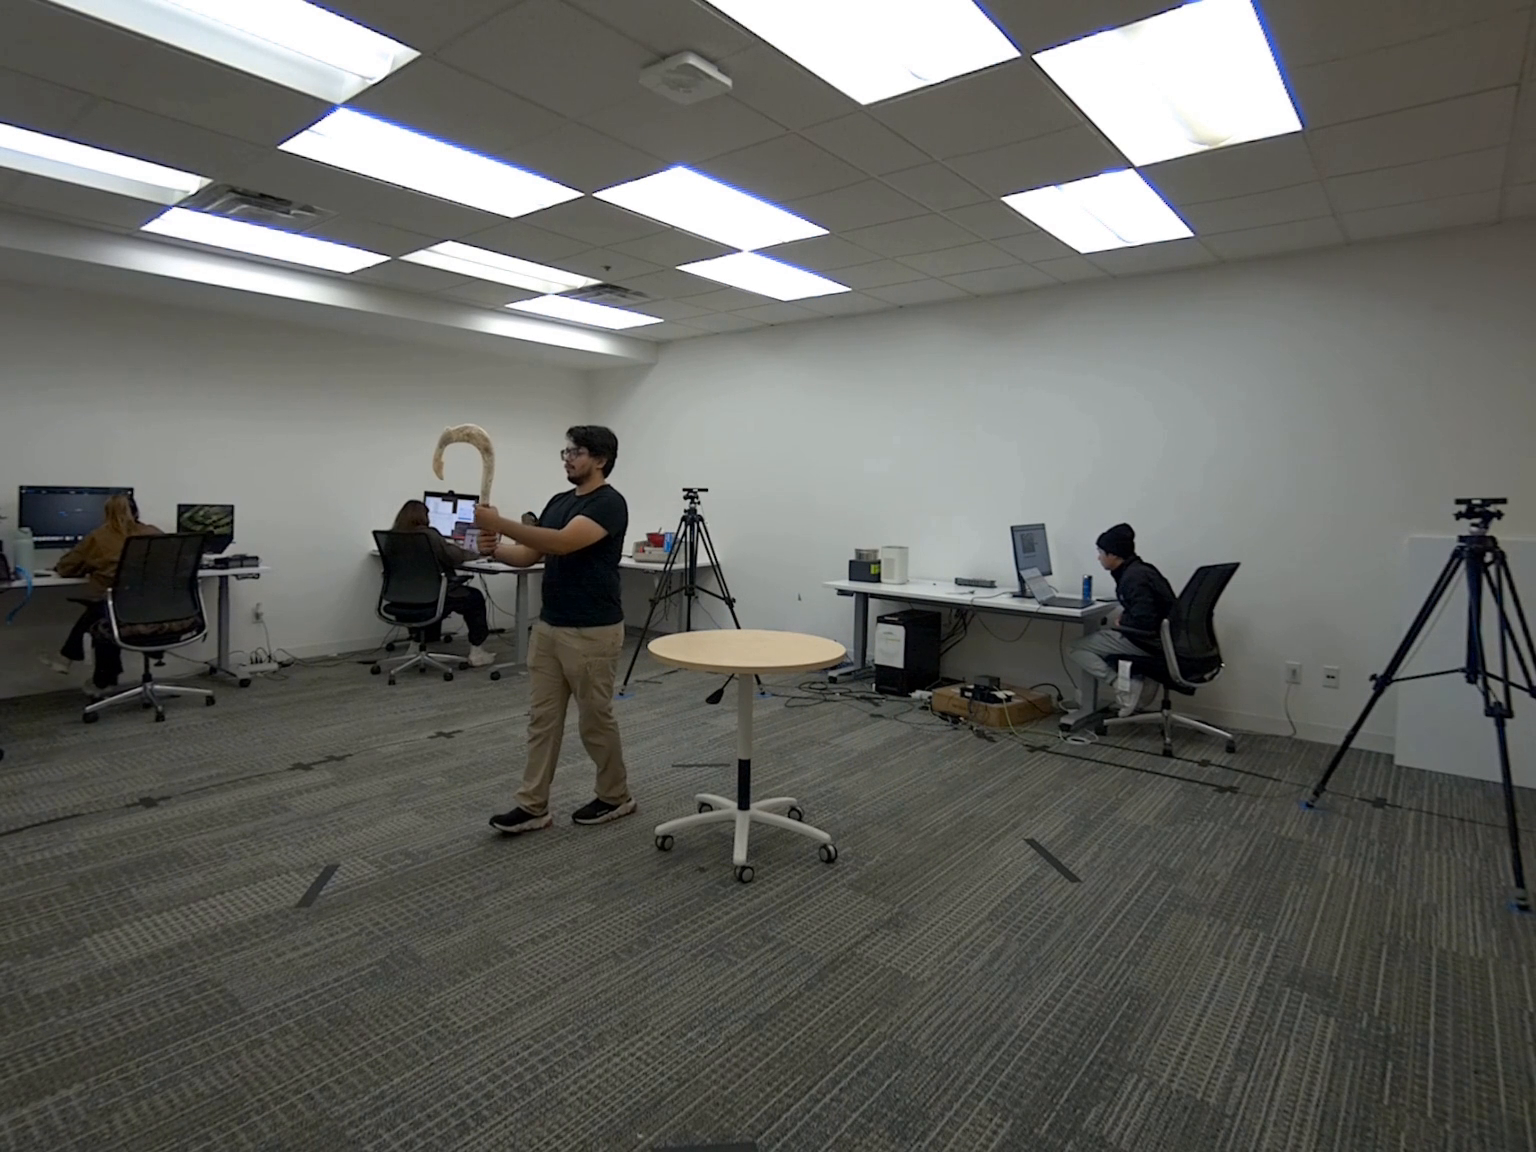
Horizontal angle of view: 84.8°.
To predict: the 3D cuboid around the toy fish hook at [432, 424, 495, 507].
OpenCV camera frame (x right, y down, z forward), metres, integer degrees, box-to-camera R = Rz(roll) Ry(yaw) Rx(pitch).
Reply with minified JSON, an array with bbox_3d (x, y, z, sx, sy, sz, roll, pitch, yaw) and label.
[{"bbox_3d":[-1.152,-0.327,3.246,0.222,0.500,0.049,-8,13,-12],"label":"toy fish hook"}]
